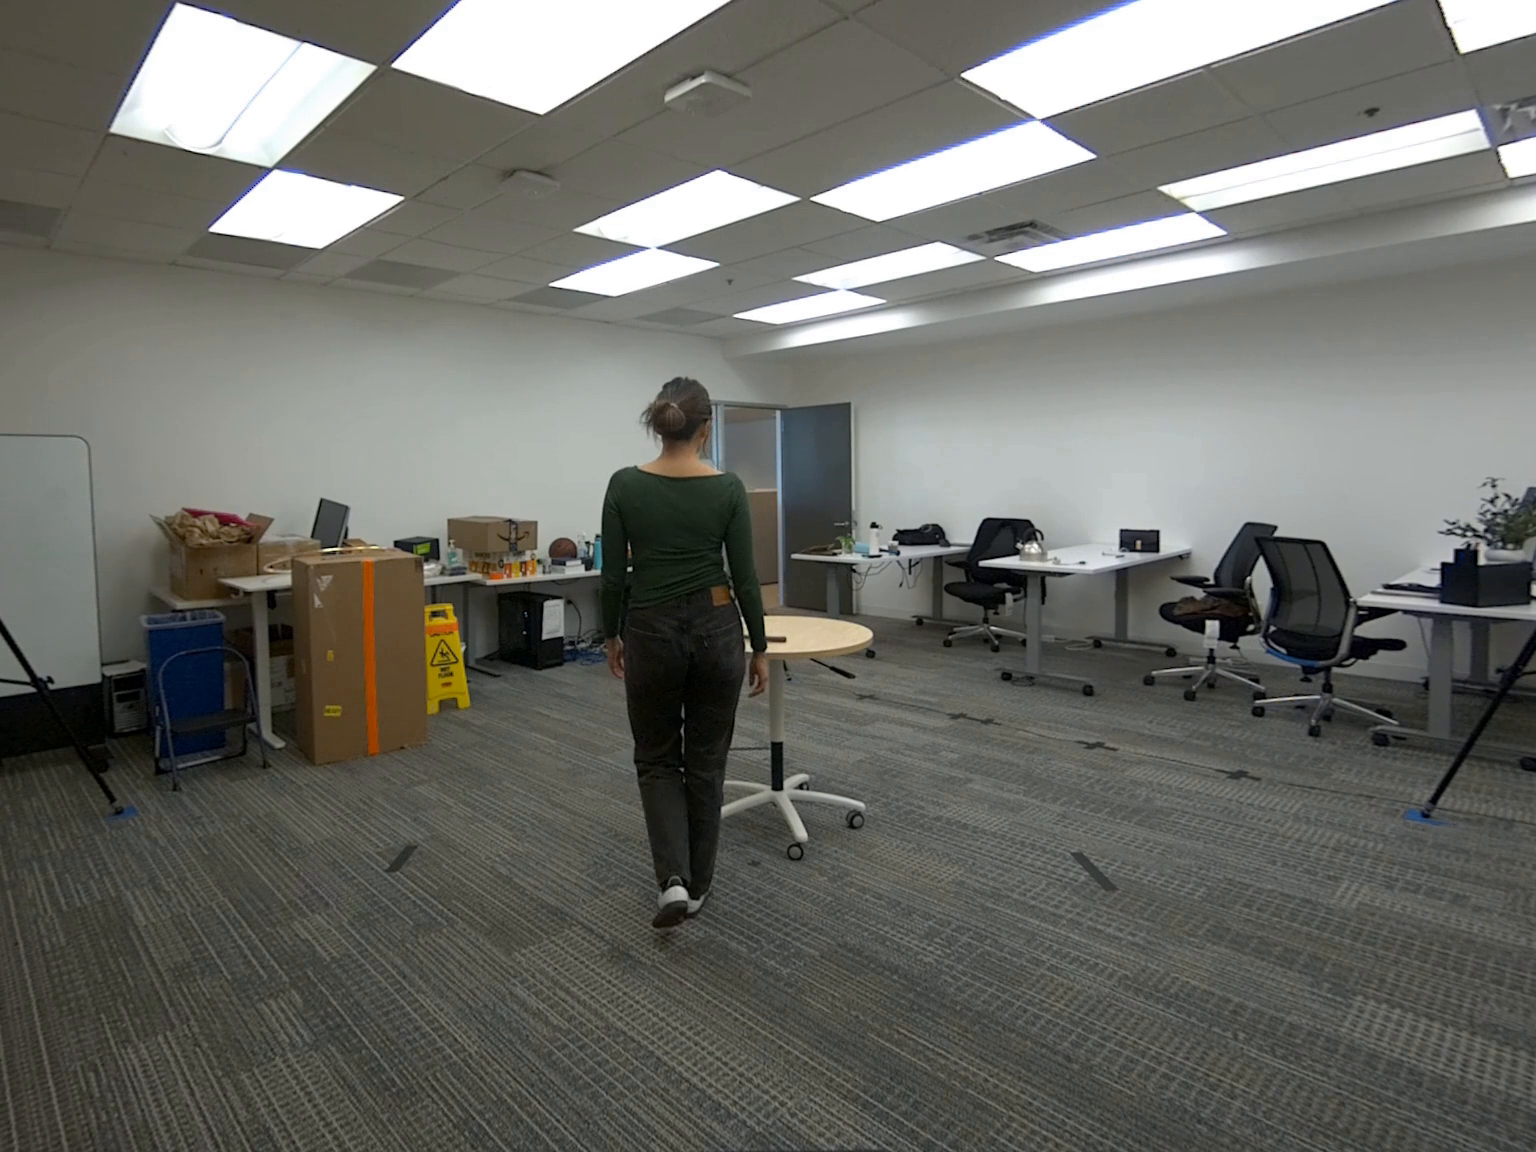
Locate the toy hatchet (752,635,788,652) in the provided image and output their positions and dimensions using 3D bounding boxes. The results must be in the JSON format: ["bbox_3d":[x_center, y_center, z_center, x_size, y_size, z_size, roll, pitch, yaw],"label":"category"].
[{"bbox_3d":[-0.057,0.236,3.280,0.272,0.029,0.130,2,3,8],"label":"toy hatchet"}]
